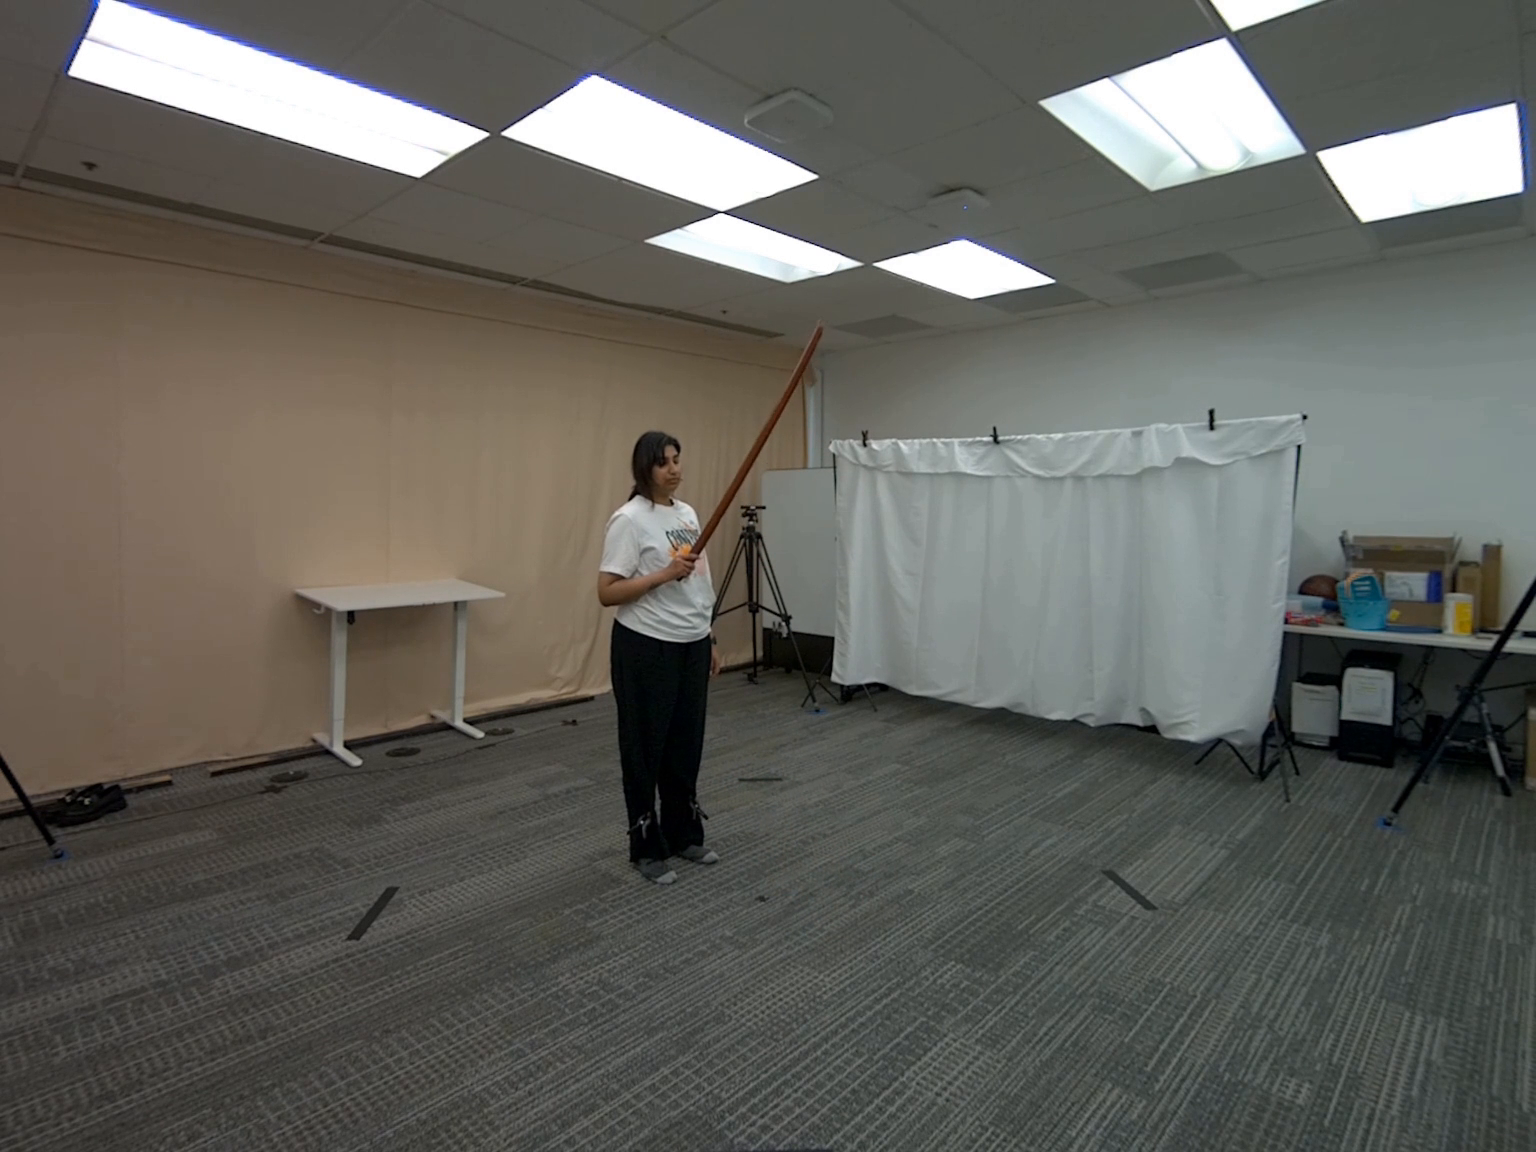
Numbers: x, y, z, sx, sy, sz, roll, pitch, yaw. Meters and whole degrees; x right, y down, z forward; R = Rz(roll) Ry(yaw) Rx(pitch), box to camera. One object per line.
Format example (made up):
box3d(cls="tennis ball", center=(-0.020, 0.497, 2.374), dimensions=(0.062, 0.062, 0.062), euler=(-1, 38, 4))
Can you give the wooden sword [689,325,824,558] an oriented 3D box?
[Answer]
box3d(cls="wooden sword", center=(-0.052, -0.398, 2.915), dimensions=(0.049, 1.024, 0.025), euler=(22, 15, -32))
